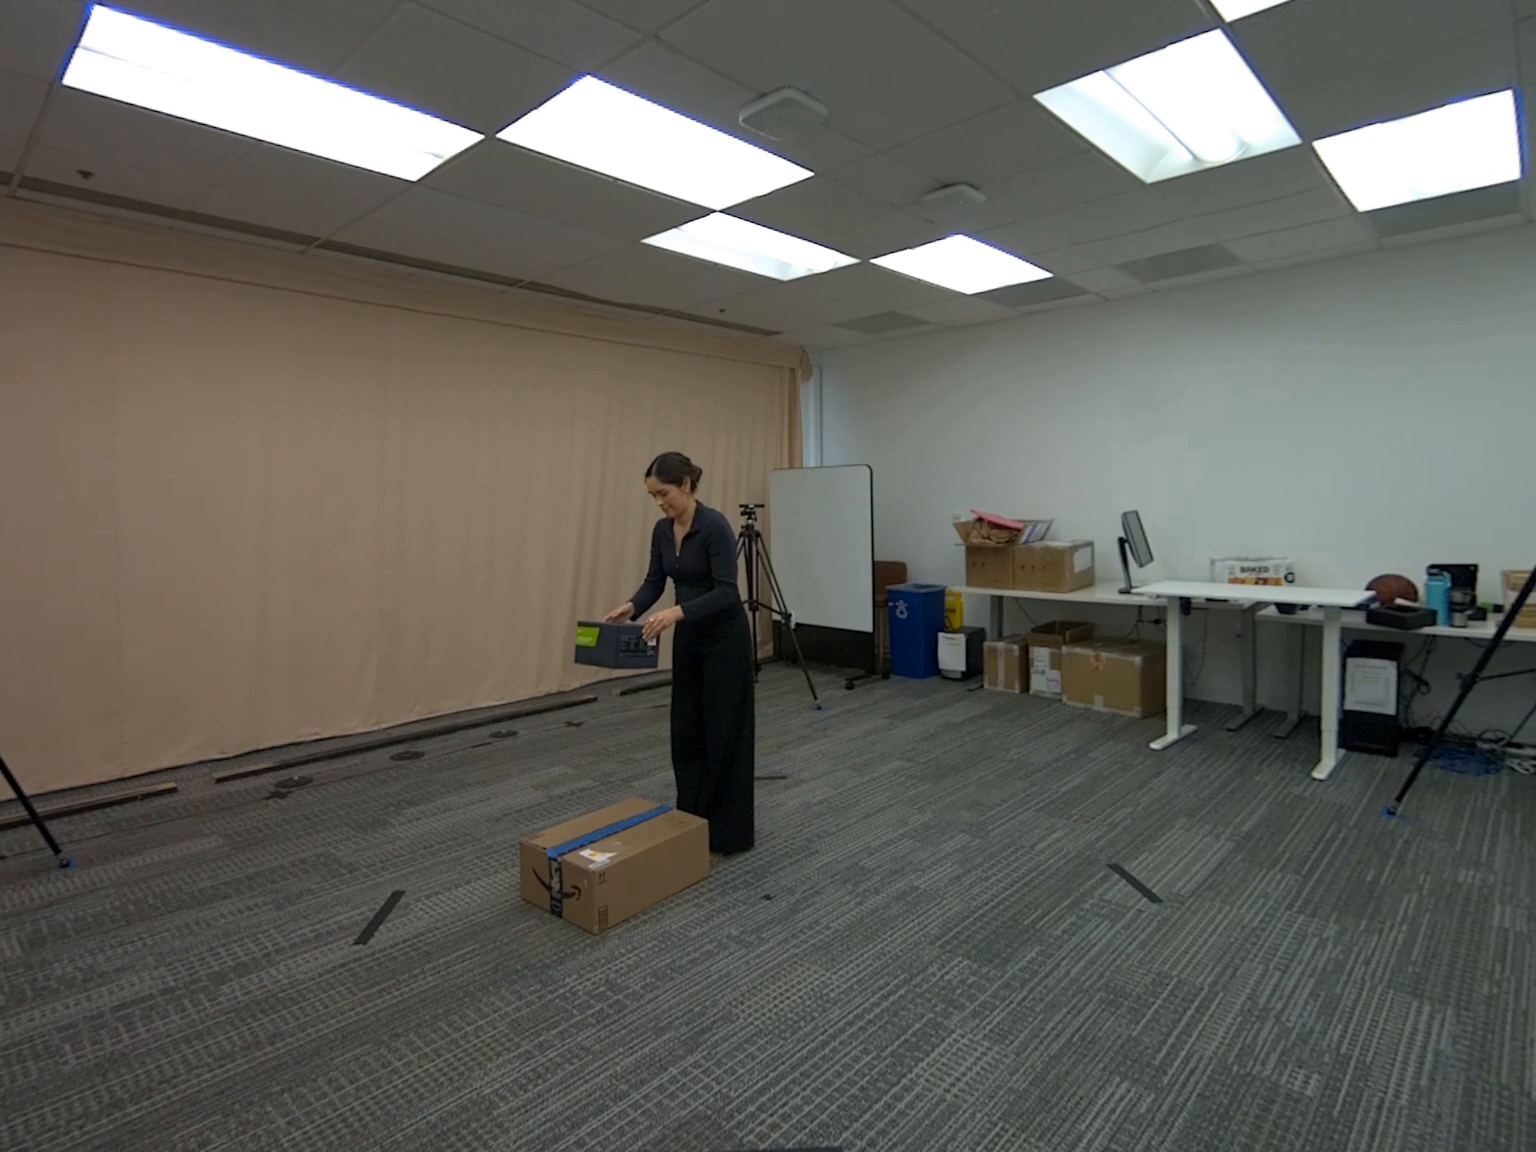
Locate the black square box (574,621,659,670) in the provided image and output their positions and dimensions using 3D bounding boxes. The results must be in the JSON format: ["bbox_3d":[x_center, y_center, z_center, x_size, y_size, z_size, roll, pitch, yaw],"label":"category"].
[{"bbox_3d":[-0.559,0.258,3.087,0.235,0.156,0.210,2,-3,38],"label":"black square box"}]
